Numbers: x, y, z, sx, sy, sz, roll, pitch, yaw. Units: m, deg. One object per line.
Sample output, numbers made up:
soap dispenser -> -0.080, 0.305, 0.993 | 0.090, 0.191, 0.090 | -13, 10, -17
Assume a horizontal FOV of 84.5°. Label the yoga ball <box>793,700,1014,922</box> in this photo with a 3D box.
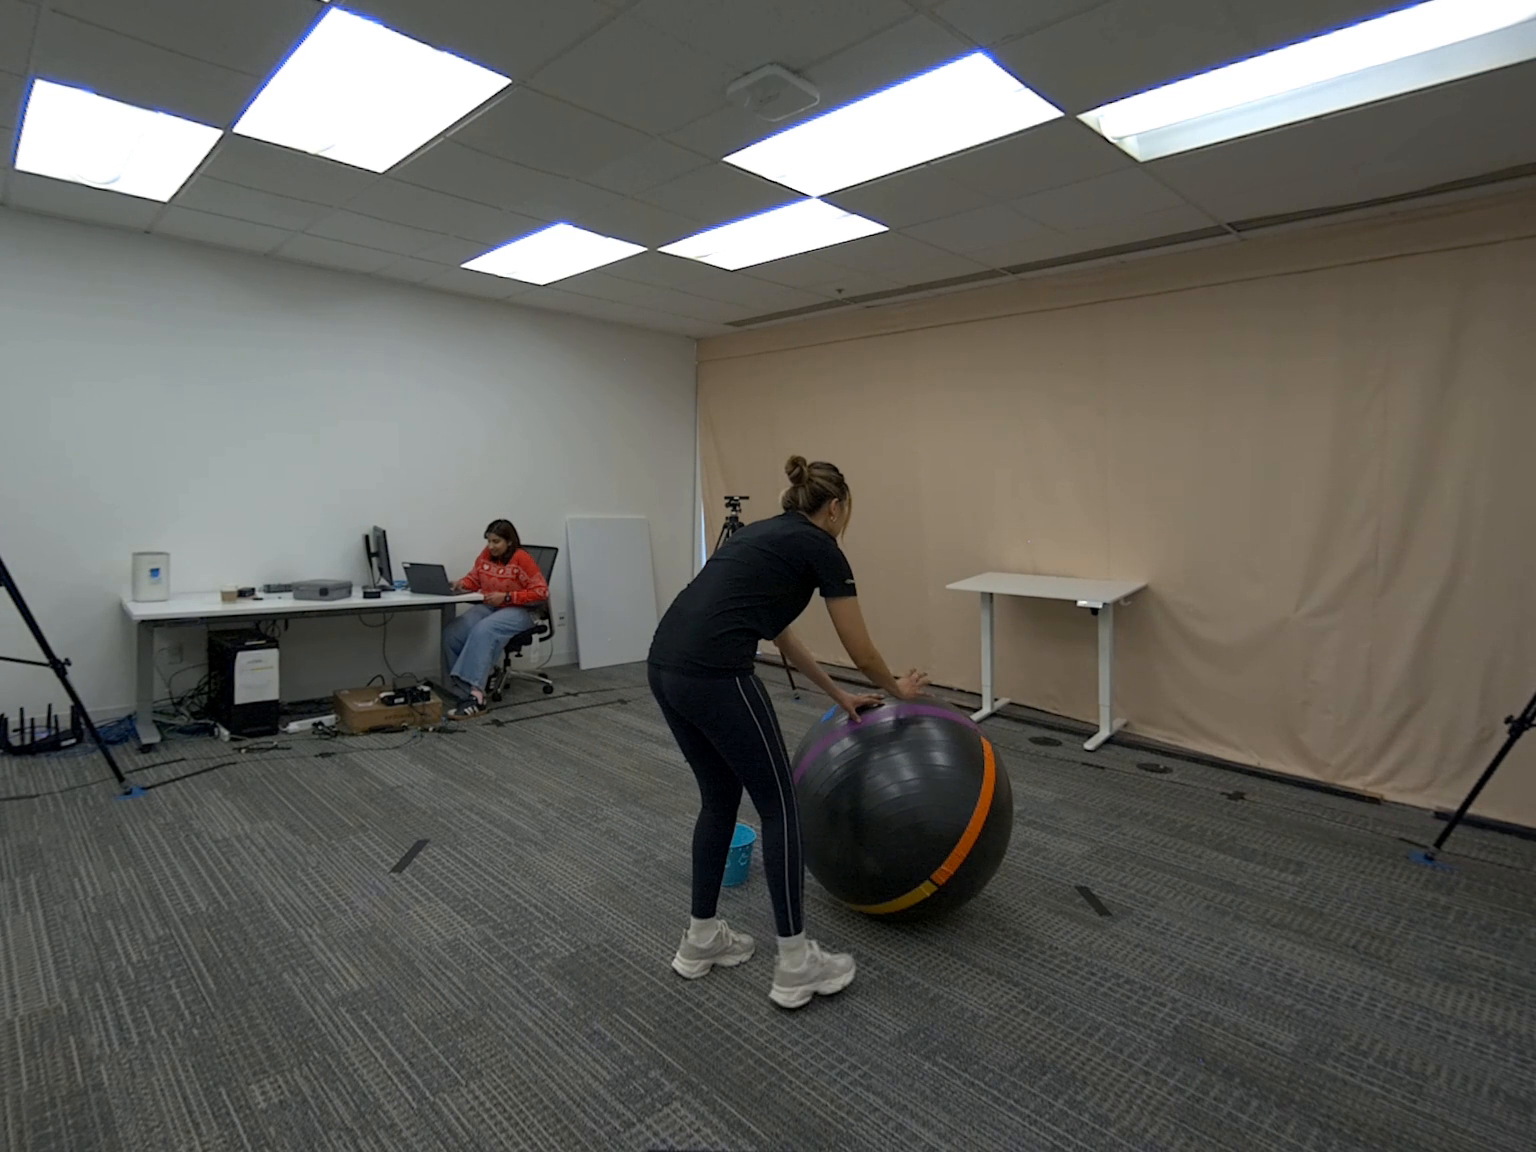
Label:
yoga ball -> 0.436, 0.766, 2.869 | 0.757, 0.756, 0.761 | 1, 4, -1
